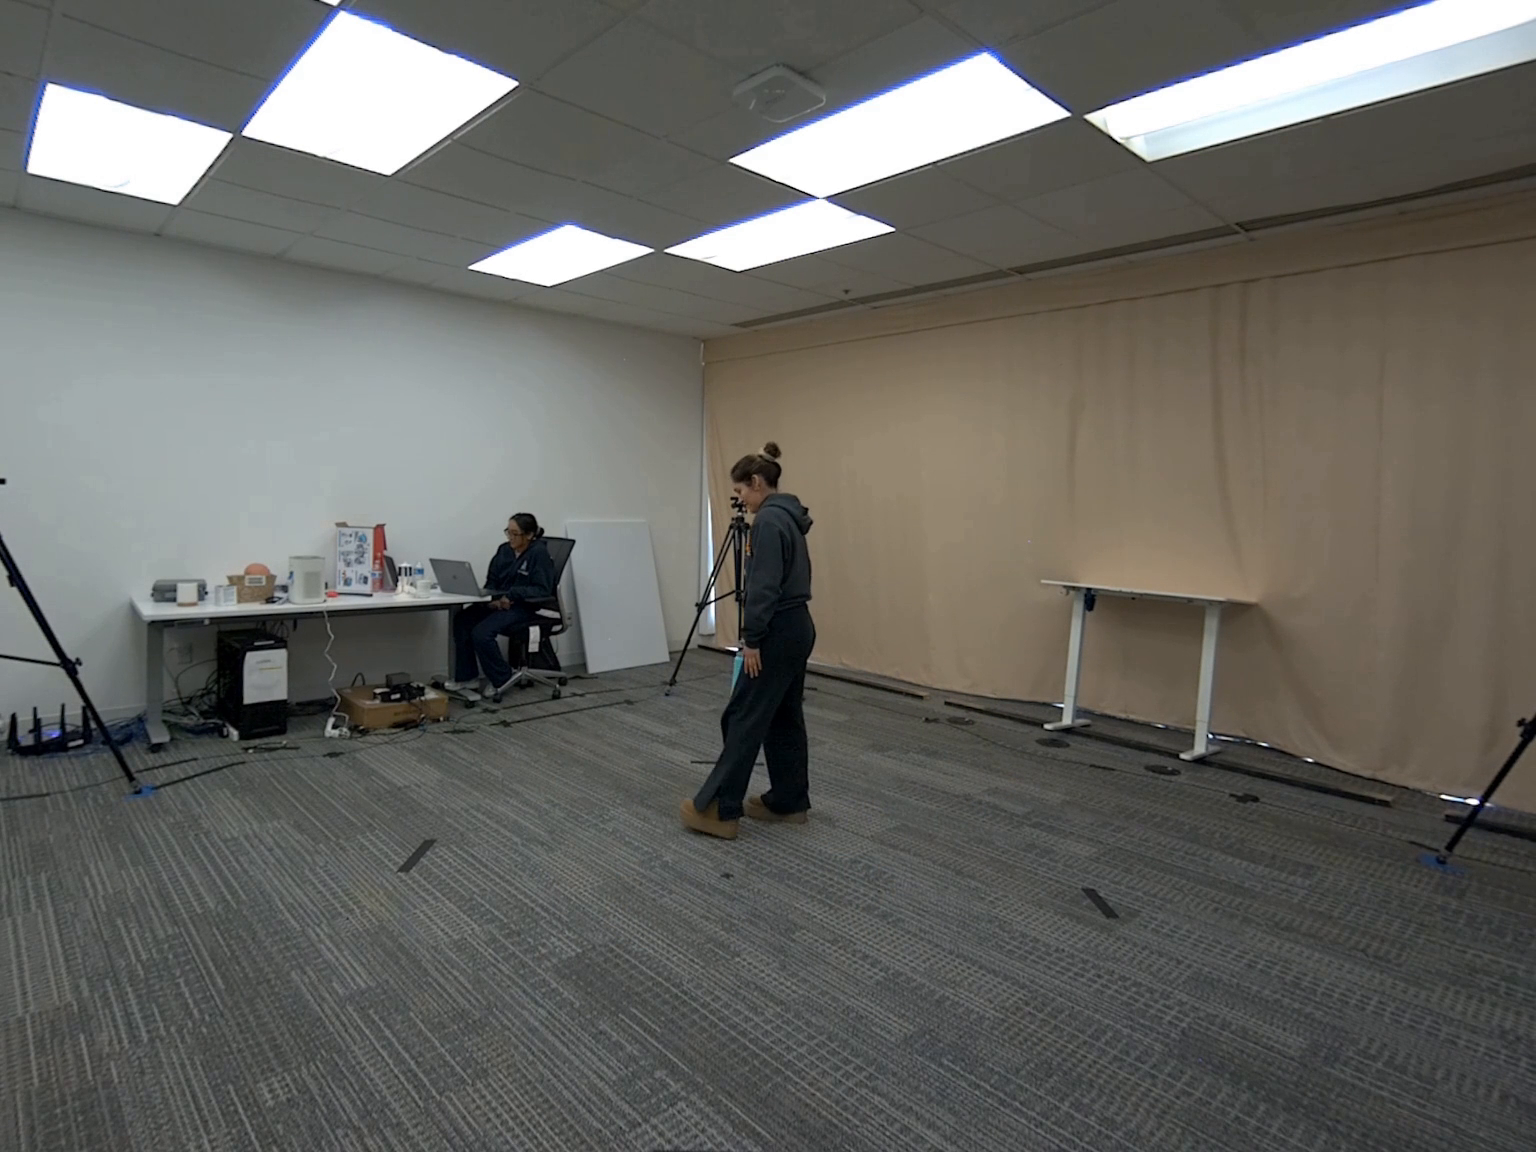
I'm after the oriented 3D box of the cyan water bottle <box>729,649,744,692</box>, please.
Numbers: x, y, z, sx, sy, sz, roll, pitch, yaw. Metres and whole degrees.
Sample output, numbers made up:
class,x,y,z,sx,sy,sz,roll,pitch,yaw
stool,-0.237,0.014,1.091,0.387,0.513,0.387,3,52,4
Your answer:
class,x,y,z,sx,sy,sz,roll,pitch,yaw
cyan water bottle,-0.120,0.460,3.900,0.092,0.283,0.092,4,1,-2
